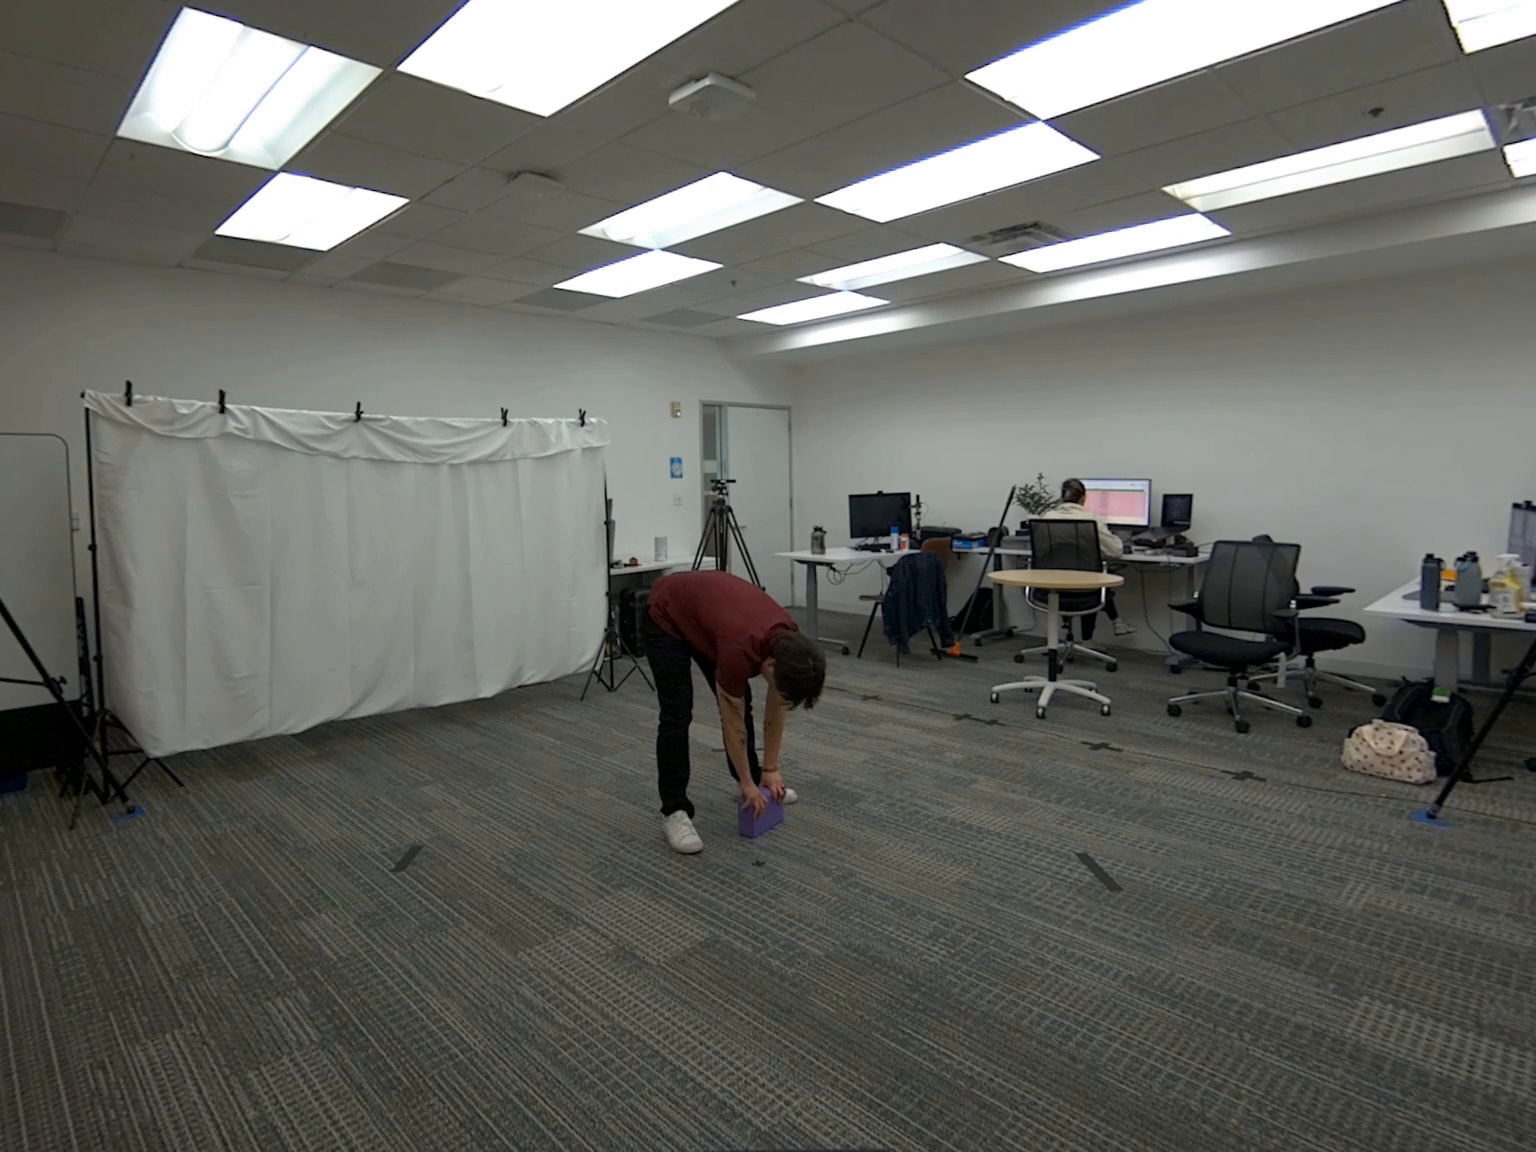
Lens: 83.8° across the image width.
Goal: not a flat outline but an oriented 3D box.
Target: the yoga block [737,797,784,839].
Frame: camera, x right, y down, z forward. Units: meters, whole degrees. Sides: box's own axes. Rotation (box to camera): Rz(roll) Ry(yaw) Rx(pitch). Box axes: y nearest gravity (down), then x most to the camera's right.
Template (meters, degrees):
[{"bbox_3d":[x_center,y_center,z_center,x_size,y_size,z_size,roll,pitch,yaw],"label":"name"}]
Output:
[{"bbox_3d":[-0.034,0.941,3.433,0.078,0.149,0.224,-5,1,33],"label":"yoga block"}]
